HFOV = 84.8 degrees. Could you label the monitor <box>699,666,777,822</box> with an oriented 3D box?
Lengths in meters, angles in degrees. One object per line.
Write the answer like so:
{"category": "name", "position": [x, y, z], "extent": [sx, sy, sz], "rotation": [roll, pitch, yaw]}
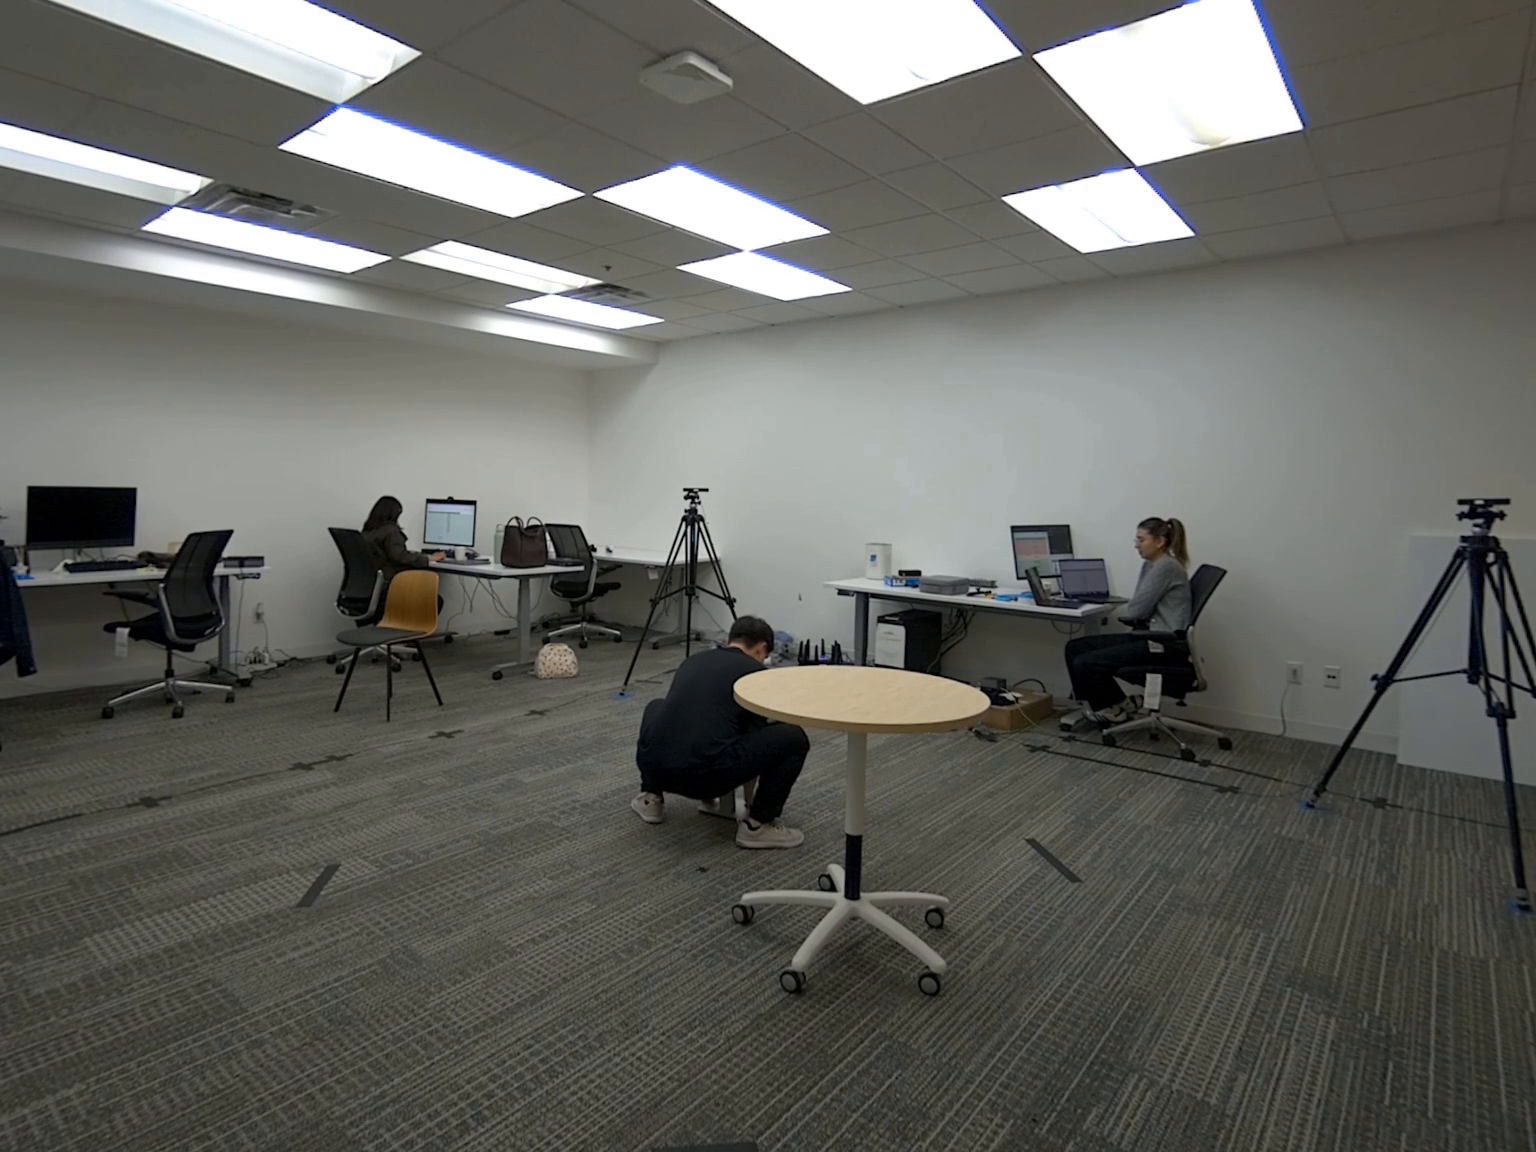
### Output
{"category": "monitor", "position": [-0.148, 0.738, 3.664], "extent": [0.554, 0.521, 0.182], "rotation": [4, 3, 27]}
